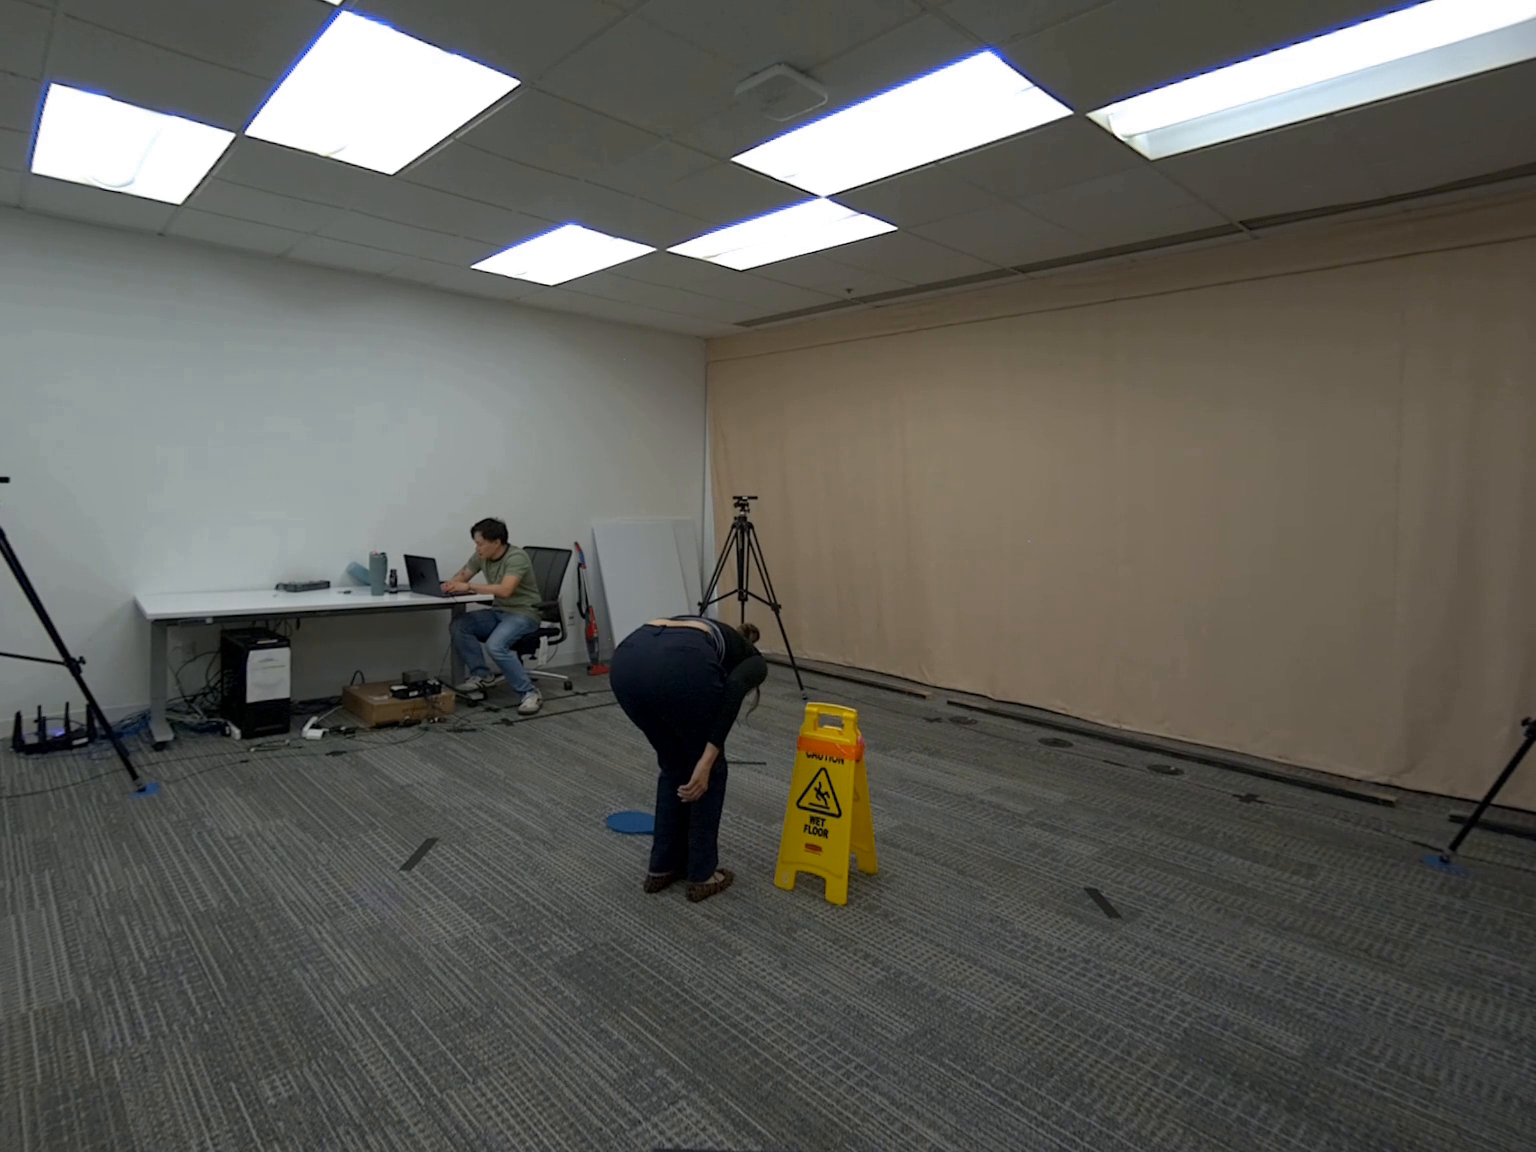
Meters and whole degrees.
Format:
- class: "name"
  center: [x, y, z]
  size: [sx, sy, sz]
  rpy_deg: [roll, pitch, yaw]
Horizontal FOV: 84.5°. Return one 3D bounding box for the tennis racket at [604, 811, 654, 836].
- class: "tennis racket"
  center: [-0.509, 1.041, 3.516]
  size: [0.443, 0.031, 0.209]
  rpy_deg: [4, 6, 36]
